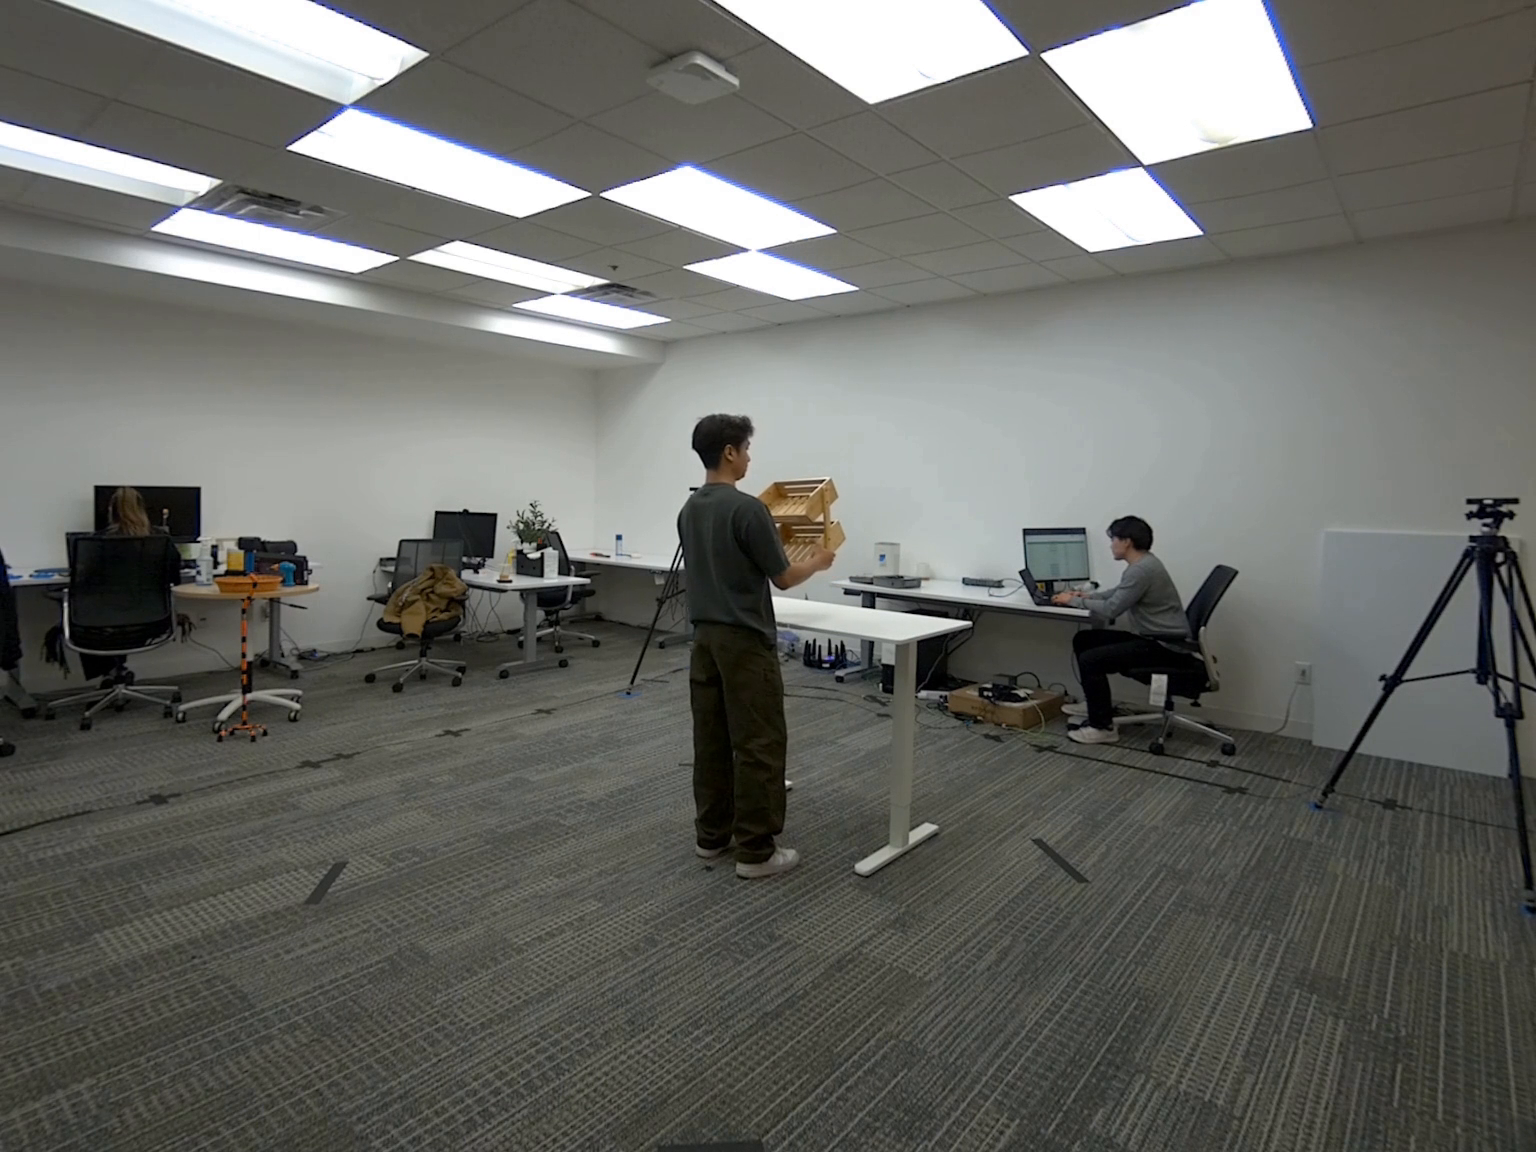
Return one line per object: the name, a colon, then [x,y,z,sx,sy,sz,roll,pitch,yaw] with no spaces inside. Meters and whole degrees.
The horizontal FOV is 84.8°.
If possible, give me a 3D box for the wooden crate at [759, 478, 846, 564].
wooden crate: [0.092,-0.210,3.423,0.335,0.266,0.301,2,35,44]
